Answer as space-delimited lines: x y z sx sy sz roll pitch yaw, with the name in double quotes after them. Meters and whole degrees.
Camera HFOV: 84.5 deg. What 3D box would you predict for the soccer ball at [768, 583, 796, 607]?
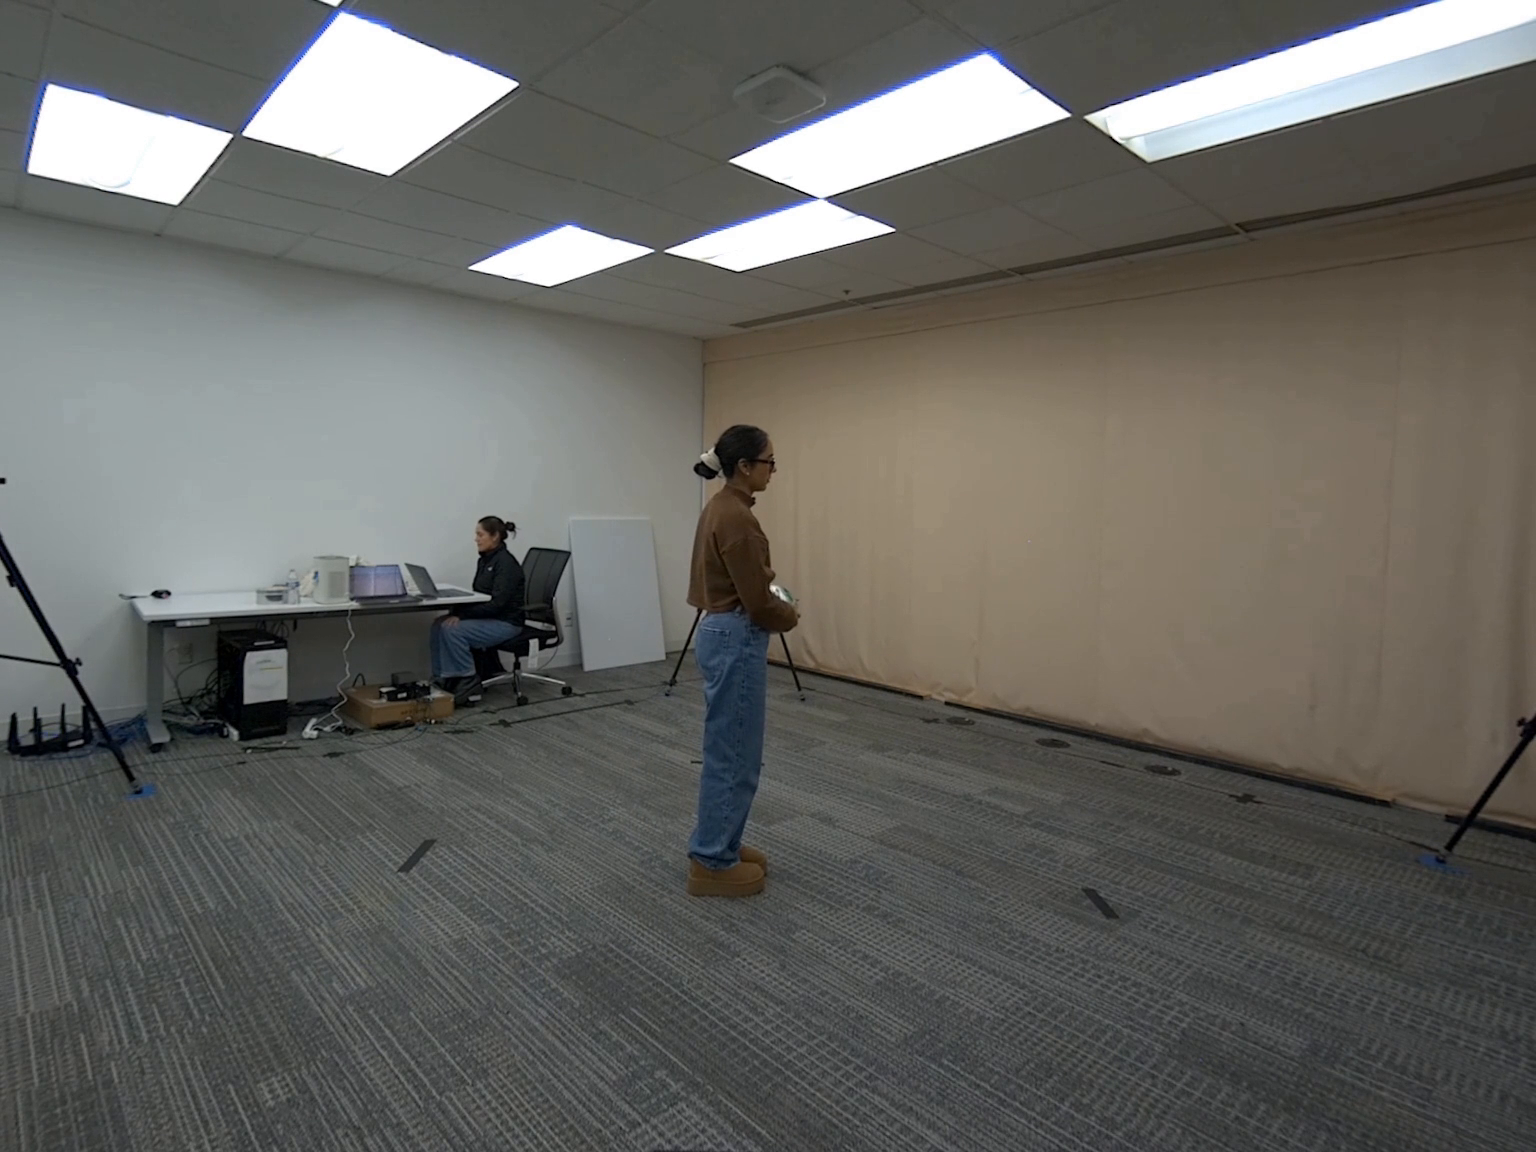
0.018 0.127 3.200 0.187 0.187 0.188 1 4 -1 "soccer ball"
